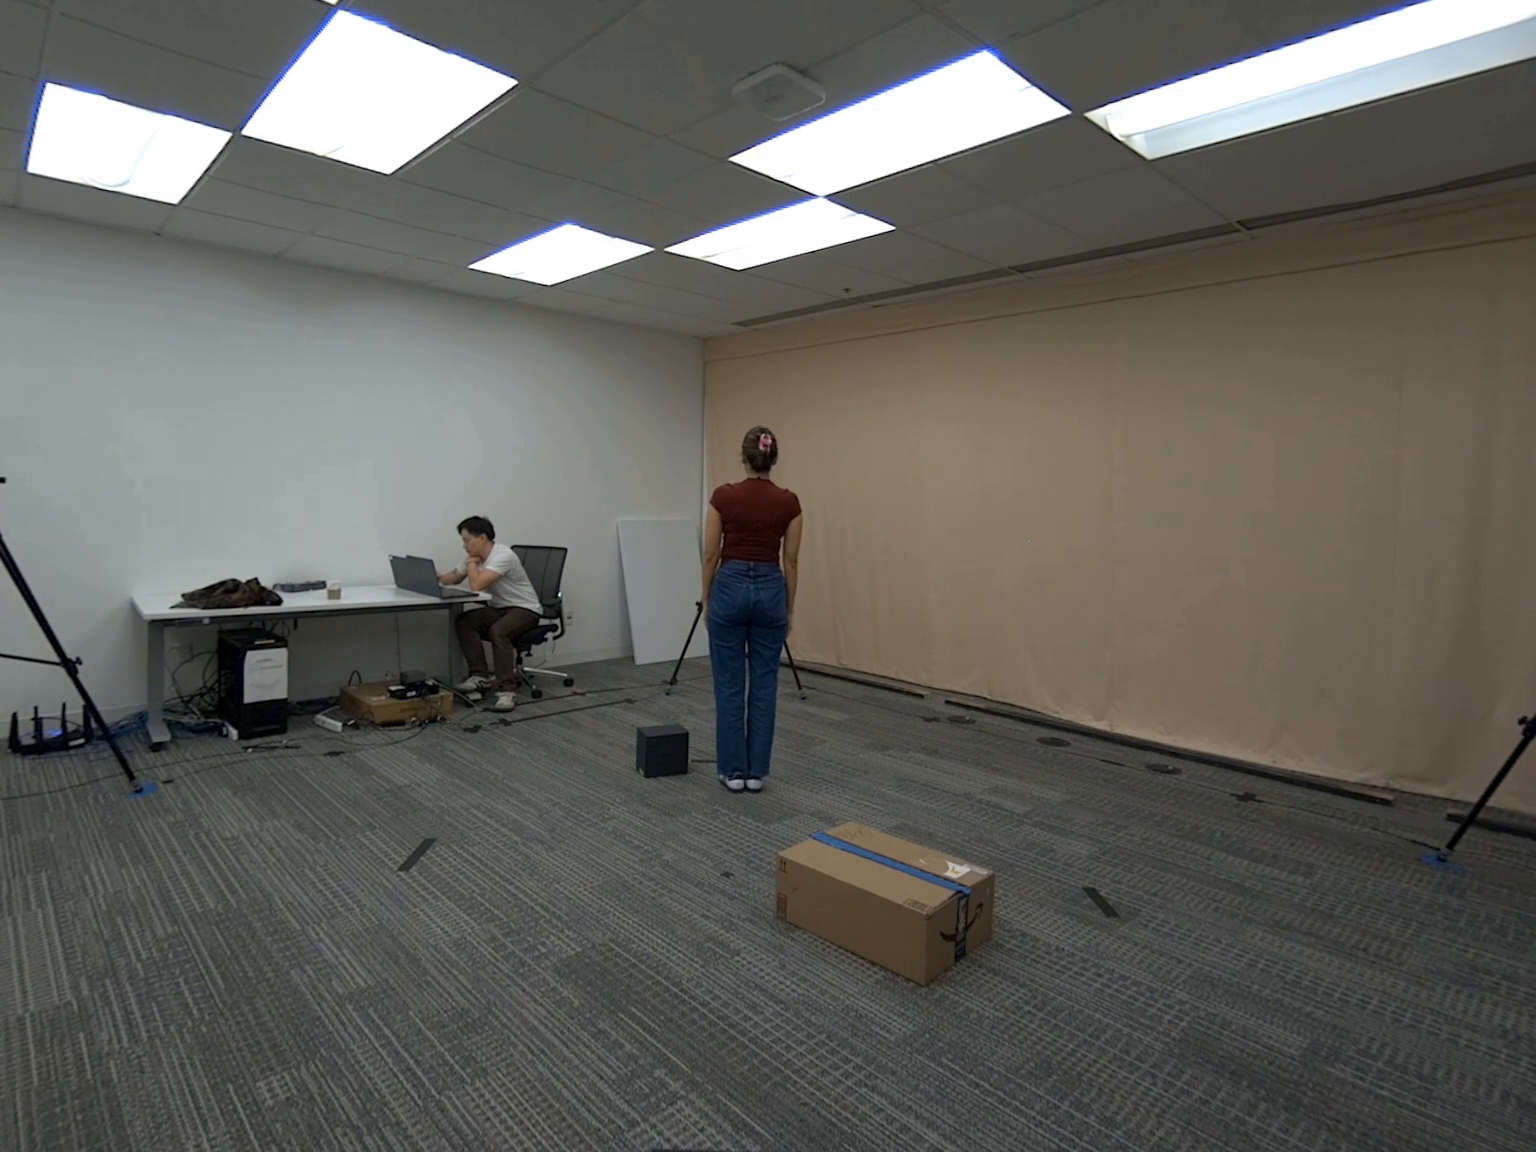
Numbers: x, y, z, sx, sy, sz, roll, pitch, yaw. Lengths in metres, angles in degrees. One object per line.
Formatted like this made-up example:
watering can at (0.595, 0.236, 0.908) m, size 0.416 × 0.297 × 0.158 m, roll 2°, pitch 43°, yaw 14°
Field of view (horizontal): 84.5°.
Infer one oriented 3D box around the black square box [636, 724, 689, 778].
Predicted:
black square box at (-0.543, 0.873, 4.254) m, size 0.224 × 0.216 × 0.159 m, roll -2°, pitch 6°, yaw -26°
